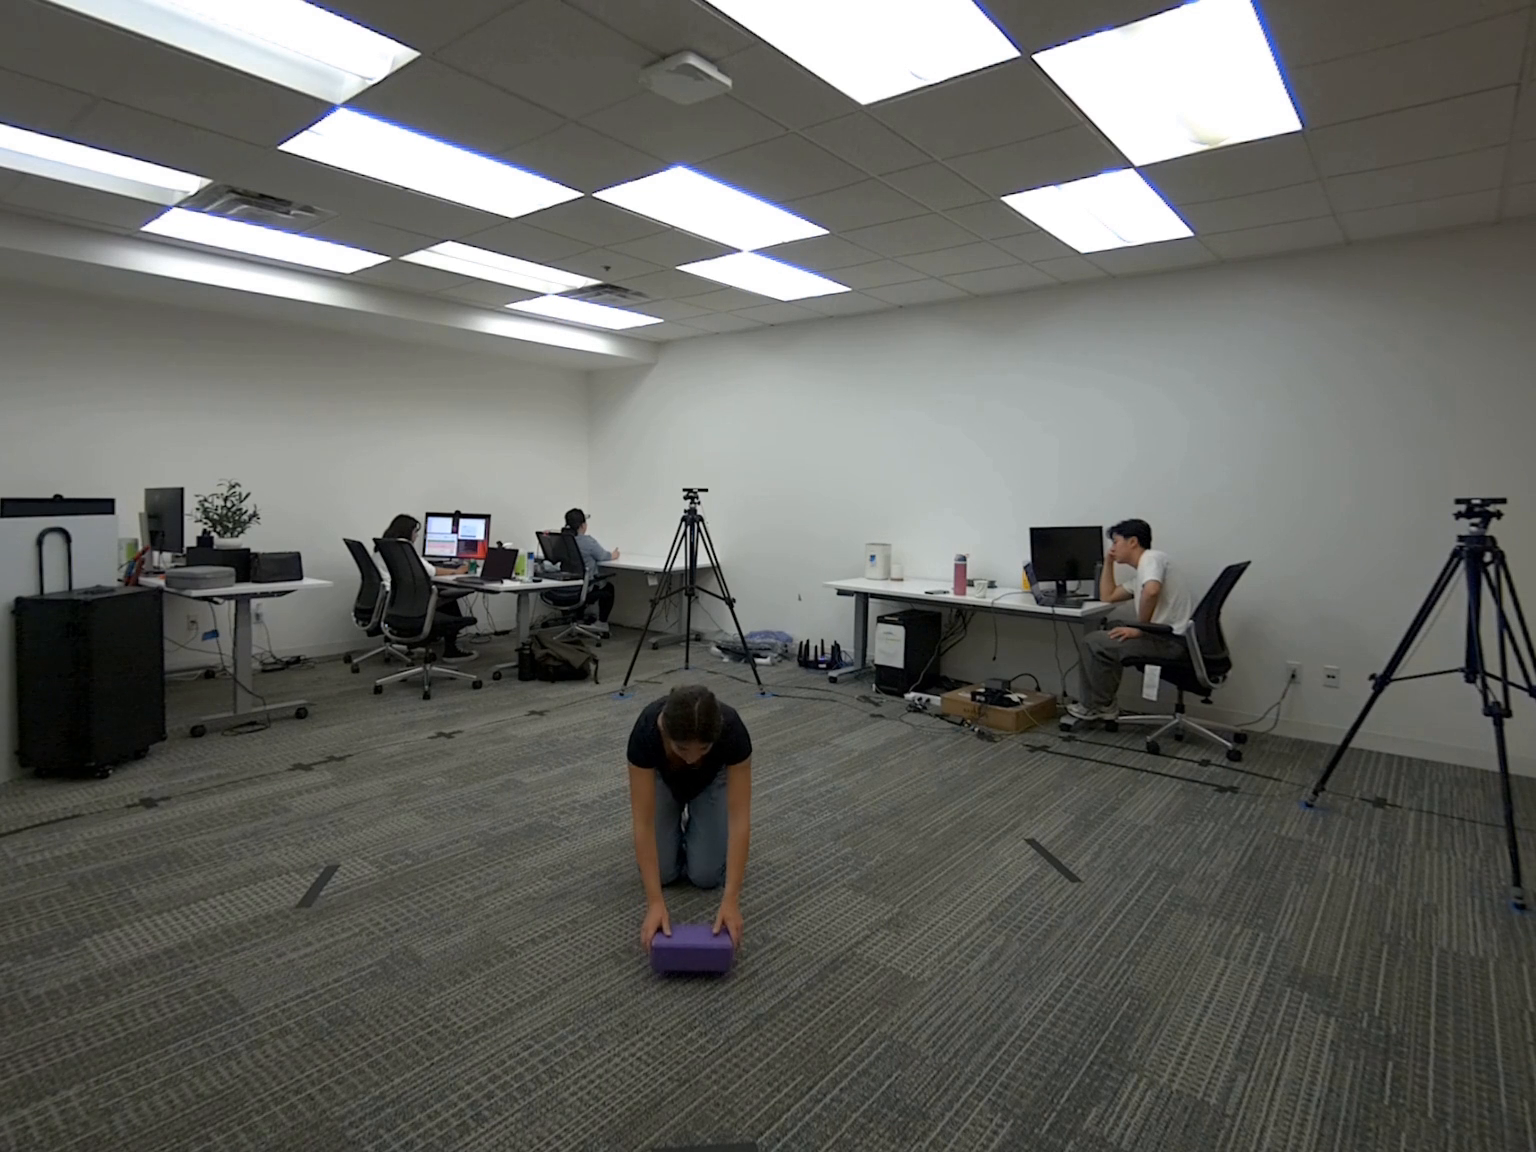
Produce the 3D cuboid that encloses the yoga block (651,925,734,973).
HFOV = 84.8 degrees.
[{"bbox_3d":[-0.222,1.068,2.478,0.229,0.076,0.149,1,2,-2],"label":"yoga block"}]
